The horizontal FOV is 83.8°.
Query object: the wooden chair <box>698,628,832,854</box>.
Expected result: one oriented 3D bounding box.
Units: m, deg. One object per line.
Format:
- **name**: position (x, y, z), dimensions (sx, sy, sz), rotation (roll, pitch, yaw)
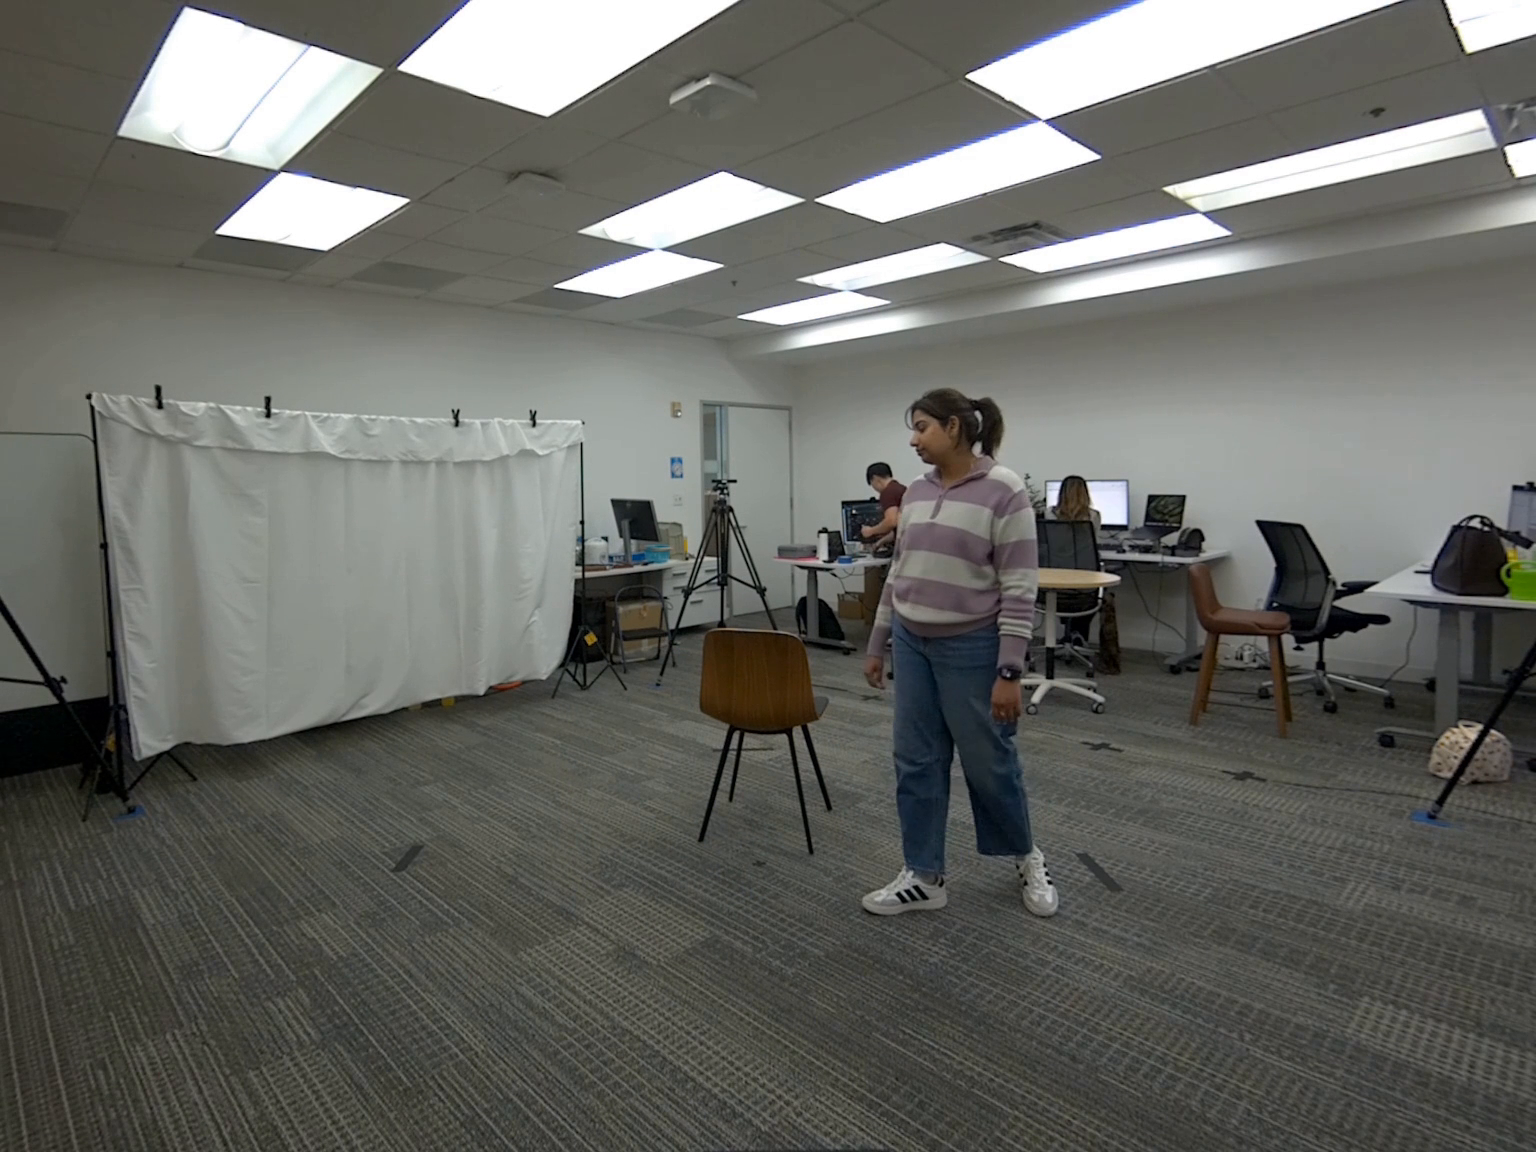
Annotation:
- **wooden chair**: position (-0.003, 0.583, 3.429), dimensions (0.485, 0.871, 0.519), rotation (0, 8, 15)
